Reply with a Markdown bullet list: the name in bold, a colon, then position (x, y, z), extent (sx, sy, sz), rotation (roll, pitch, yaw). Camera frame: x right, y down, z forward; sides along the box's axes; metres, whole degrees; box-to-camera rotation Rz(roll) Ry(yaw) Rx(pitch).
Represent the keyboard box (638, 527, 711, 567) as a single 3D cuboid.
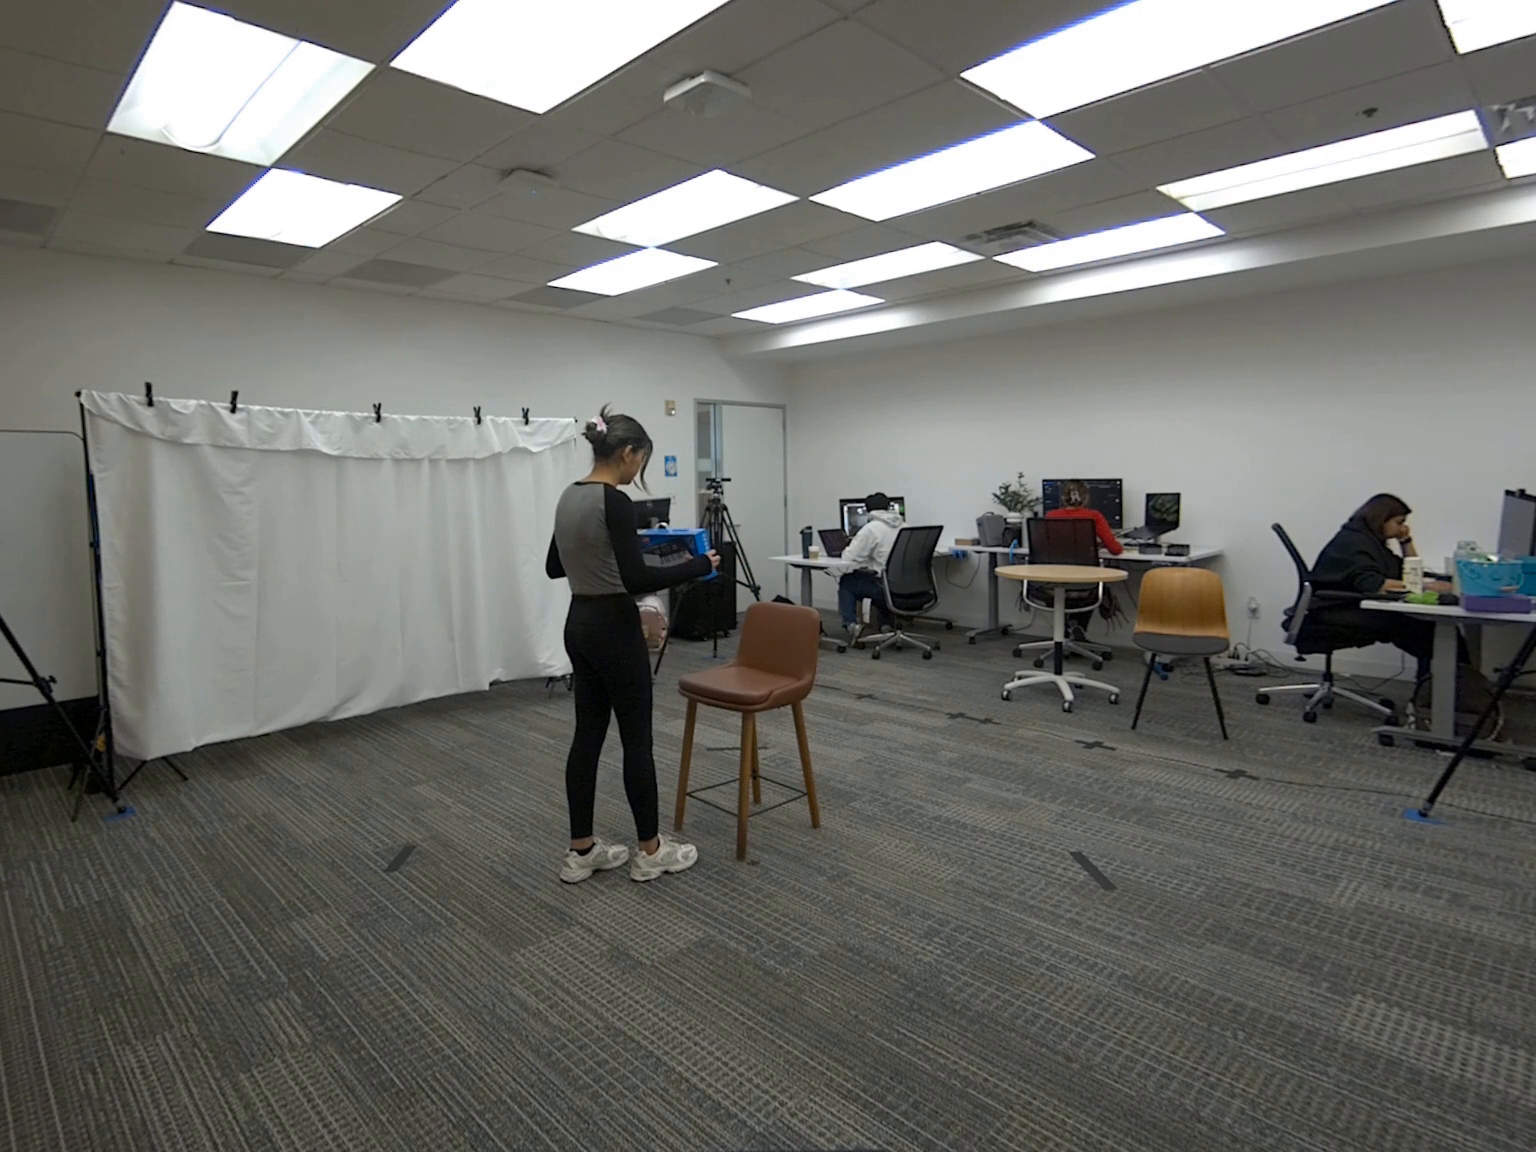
- **keyboard box**: position (-0.369, -0.082, 3.167), extent (0.058, 0.174, 0.450), rotation (-22, 16, -40)
